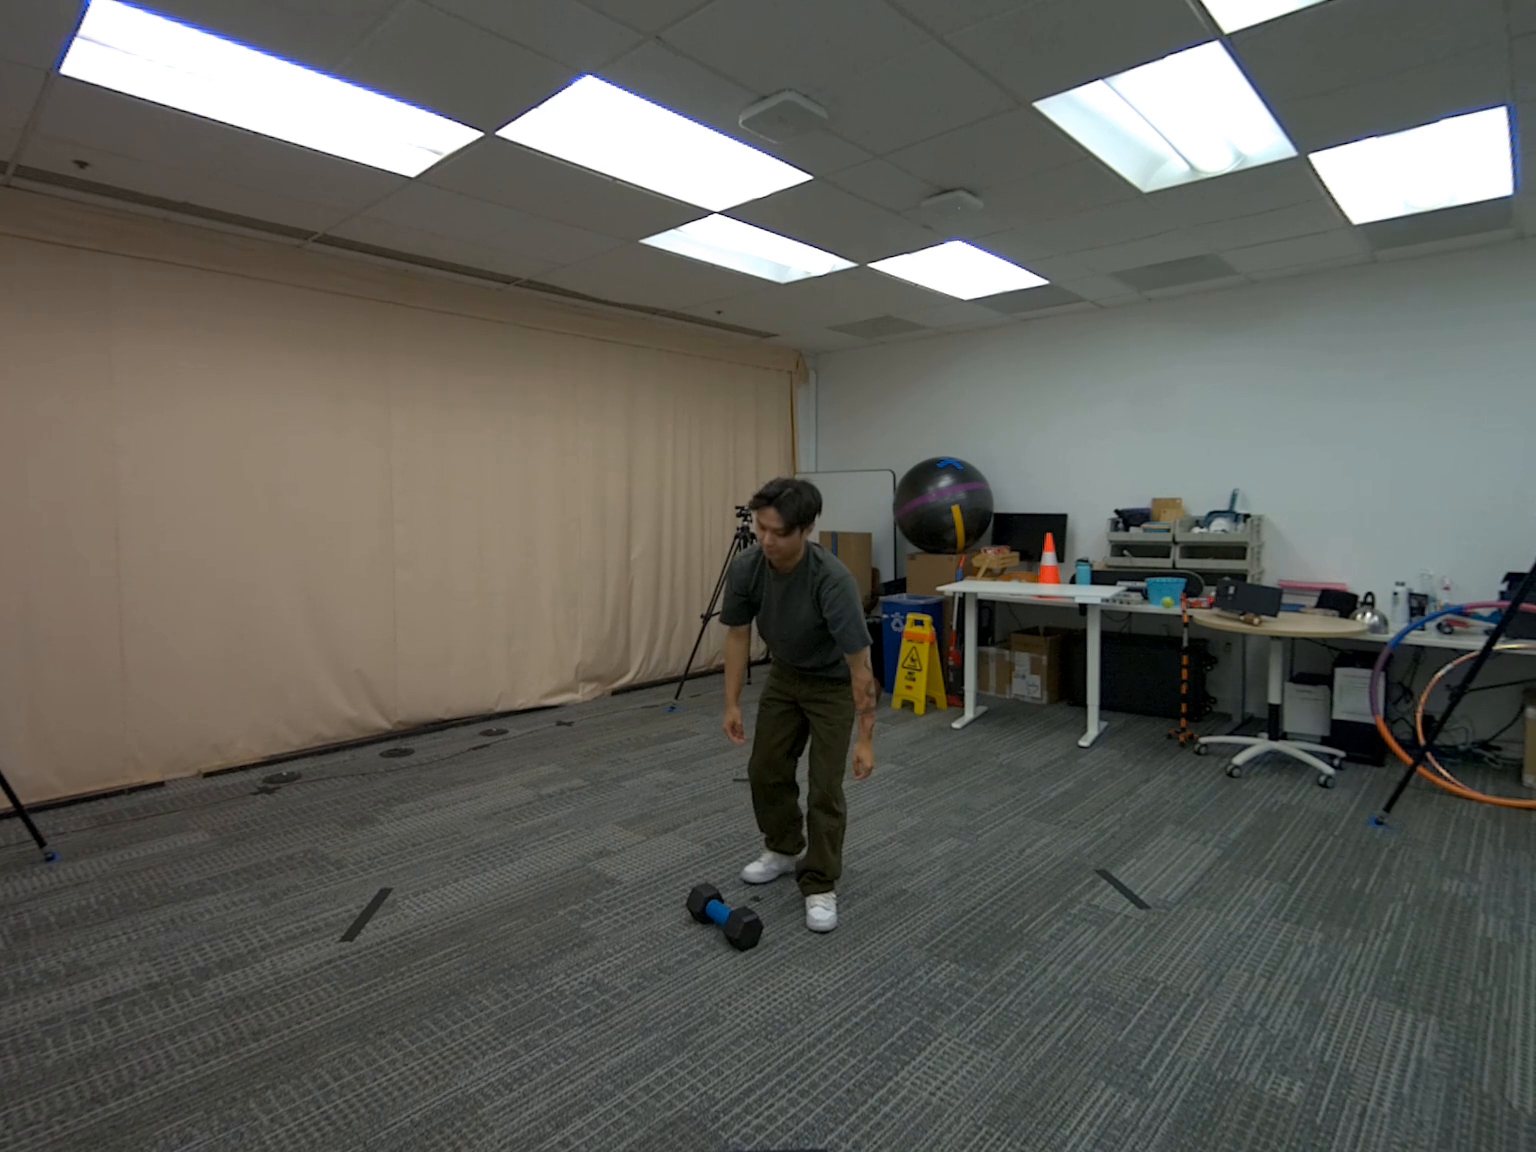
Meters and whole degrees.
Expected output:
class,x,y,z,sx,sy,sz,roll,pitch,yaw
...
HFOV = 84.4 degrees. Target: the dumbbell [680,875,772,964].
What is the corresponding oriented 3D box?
class,x,y,z,sx,sy,sz,roll,pitch,yaw
dumbbell,-0.143,1.109,2.751,0.107,0.120,0.303,-40,25,-26
